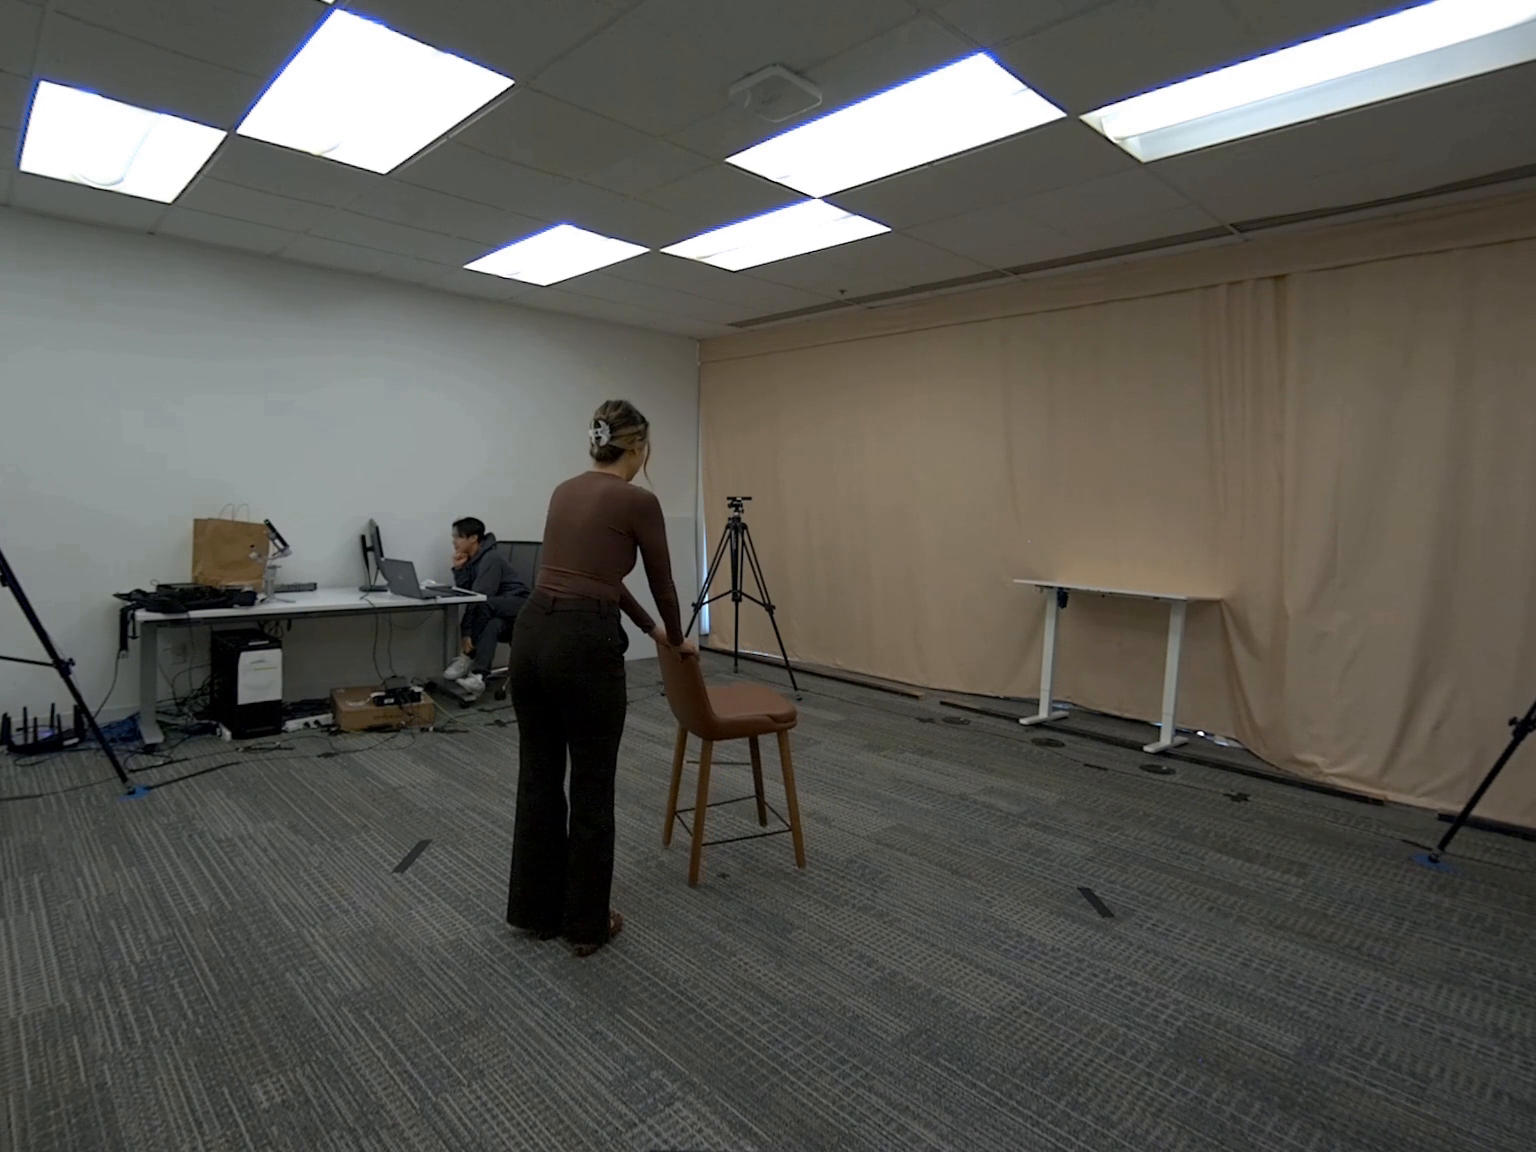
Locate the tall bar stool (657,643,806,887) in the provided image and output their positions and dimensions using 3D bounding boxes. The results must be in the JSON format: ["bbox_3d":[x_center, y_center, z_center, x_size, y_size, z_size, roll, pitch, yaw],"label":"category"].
[{"bbox_3d":[-0.160,0.646,3.201,0.461,0.885,0.465,-5,7,-21],"label":"tall bar stool"}]
